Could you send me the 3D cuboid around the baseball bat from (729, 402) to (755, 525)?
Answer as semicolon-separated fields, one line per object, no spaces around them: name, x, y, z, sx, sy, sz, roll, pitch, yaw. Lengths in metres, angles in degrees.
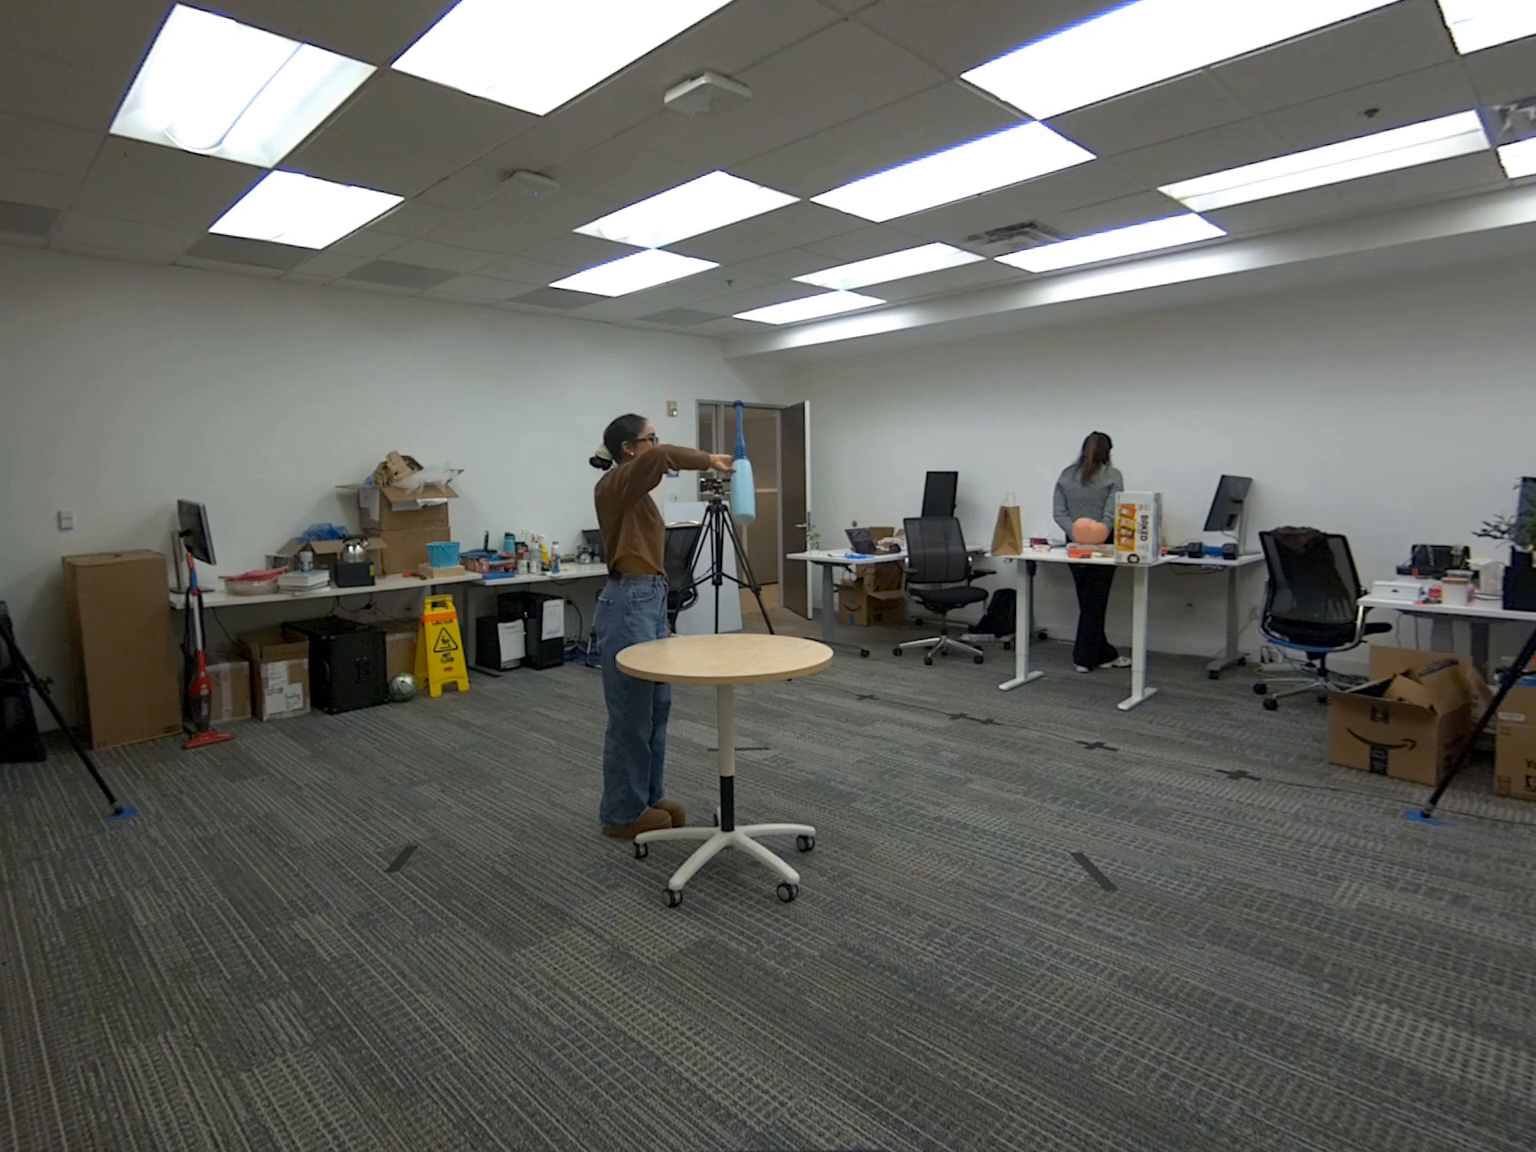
baseball bat;-0.109;-0.446;3.275;0.089;0.555;0.087;-3;-25;-3
